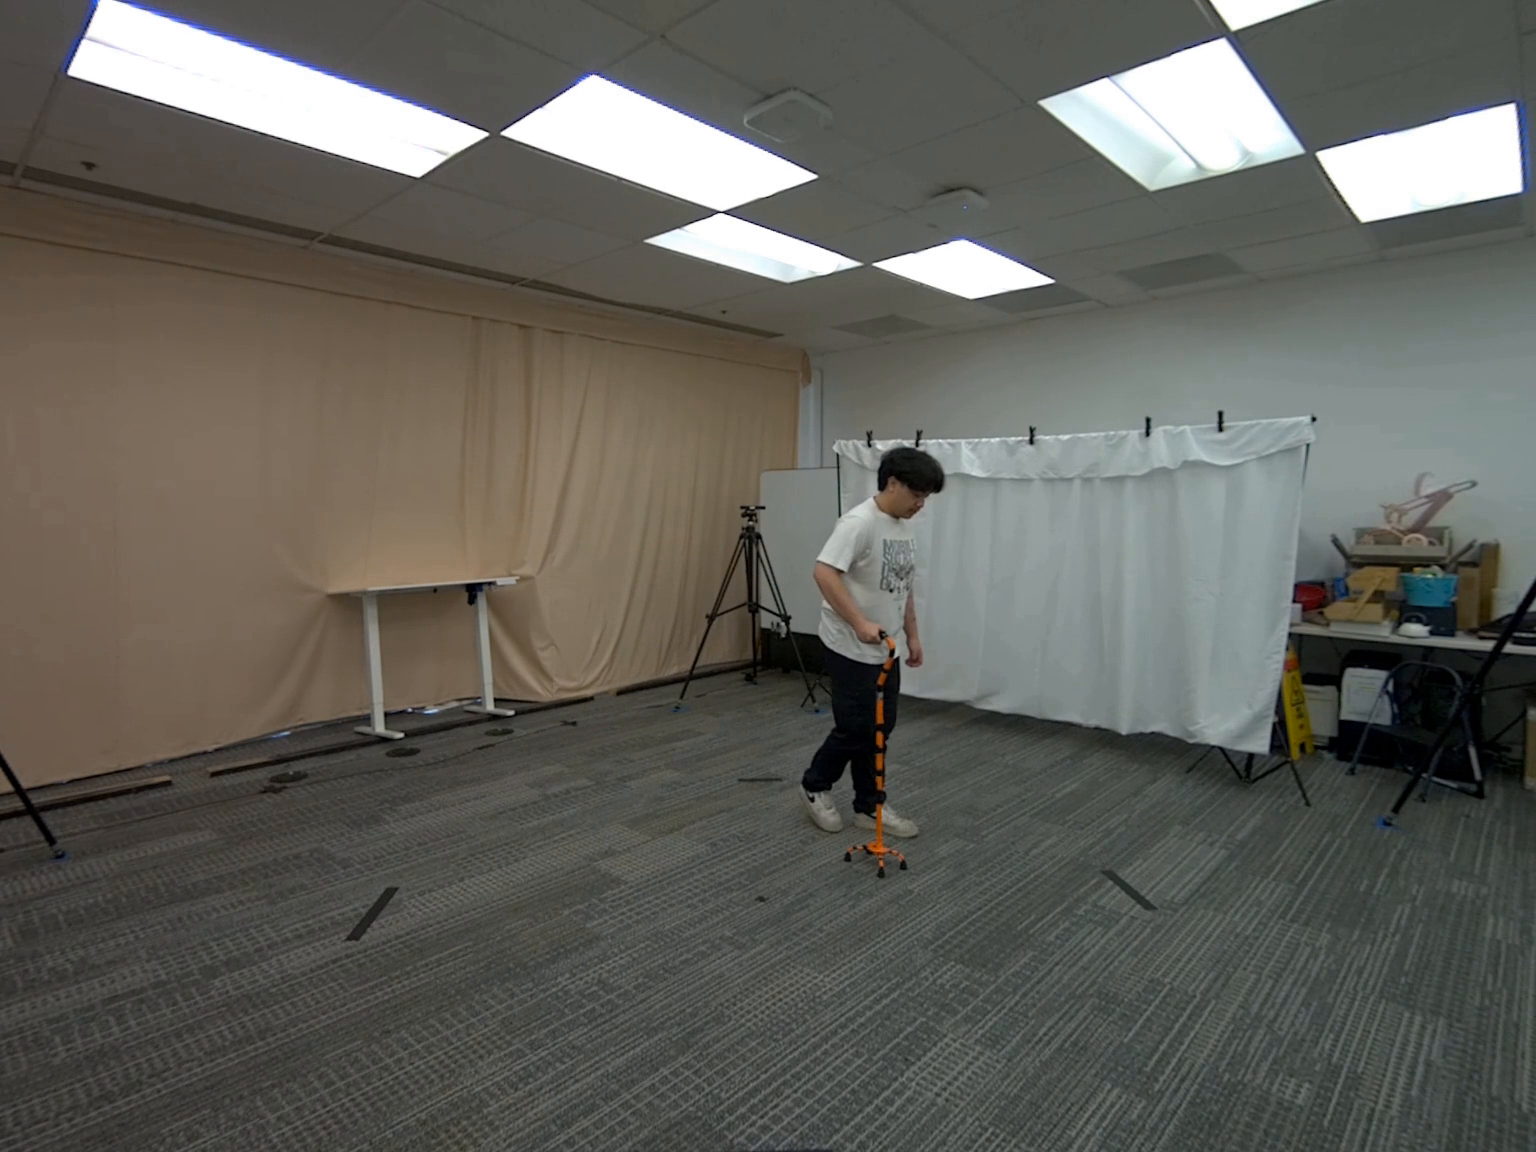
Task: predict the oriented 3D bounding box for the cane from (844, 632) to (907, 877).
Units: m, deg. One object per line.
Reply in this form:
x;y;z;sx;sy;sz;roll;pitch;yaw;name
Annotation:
0.422;0.665;3.245;0.147;0.906;0.213;-2;3;-38;cane
